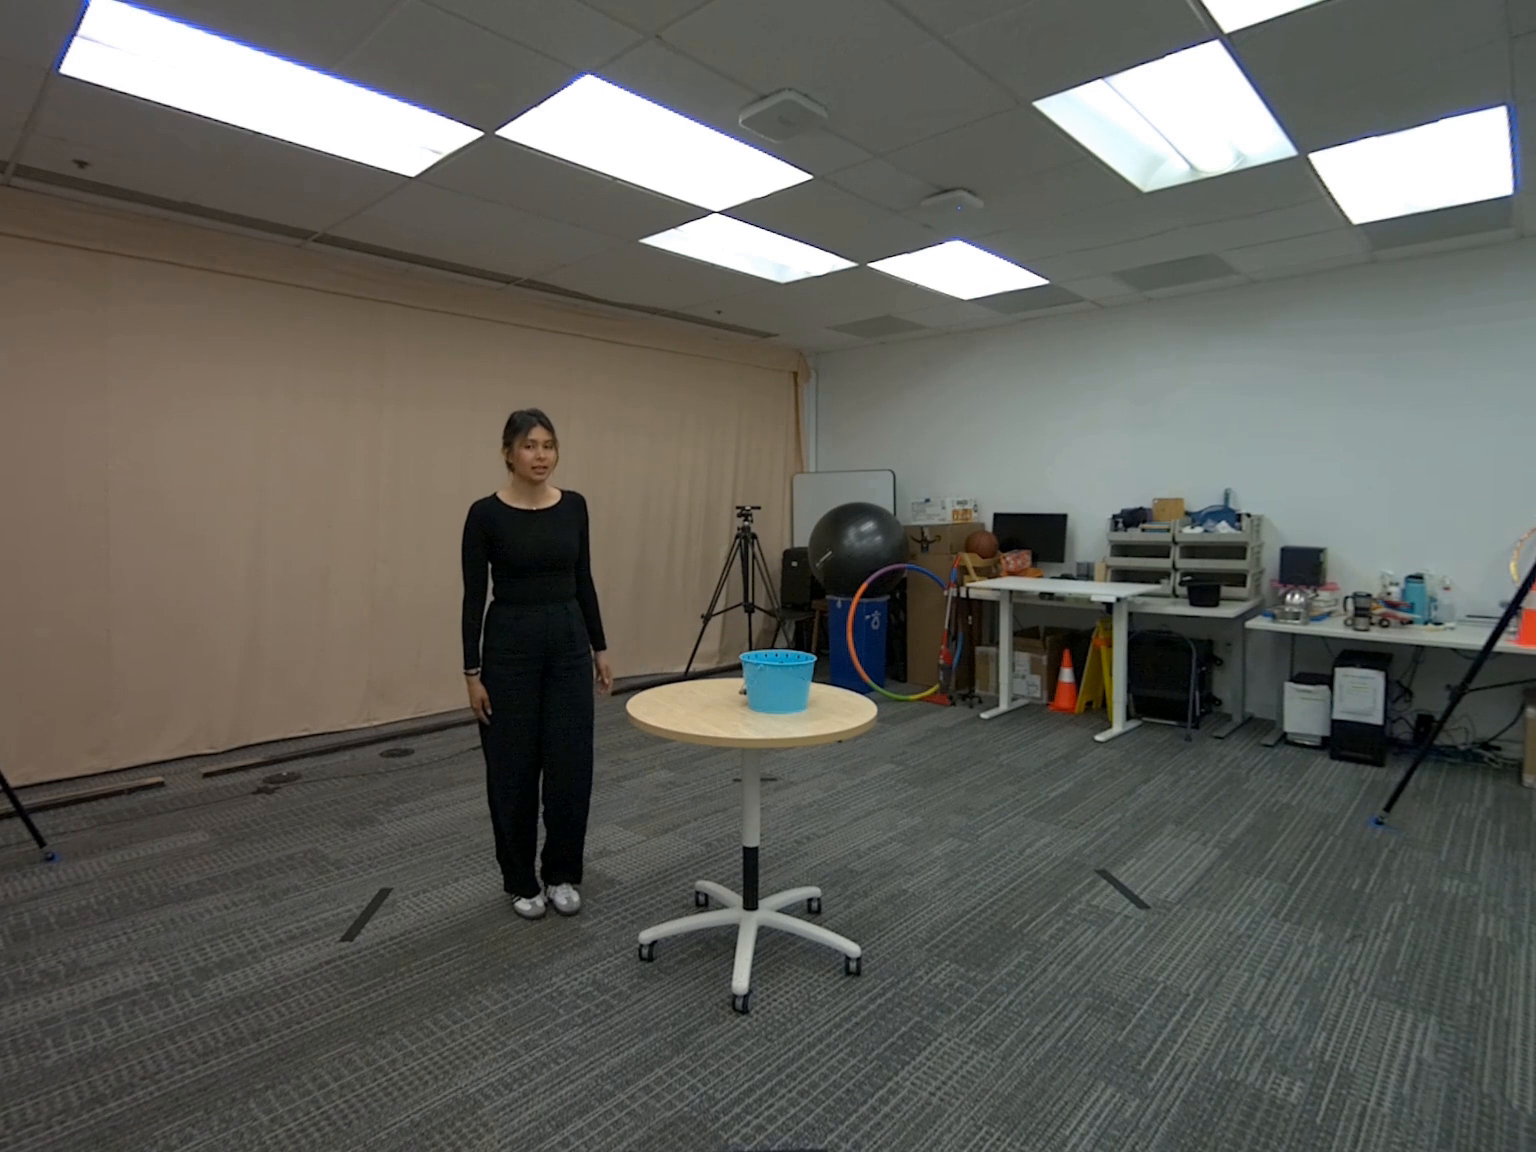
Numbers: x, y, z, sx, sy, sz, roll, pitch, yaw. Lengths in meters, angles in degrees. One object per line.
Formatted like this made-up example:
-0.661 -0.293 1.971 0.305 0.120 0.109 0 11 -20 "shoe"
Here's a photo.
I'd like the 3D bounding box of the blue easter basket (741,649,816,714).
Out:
0.030 0.326 2.557 0.243 0.155 0.244 1 5 -2 "blue easter basket"
